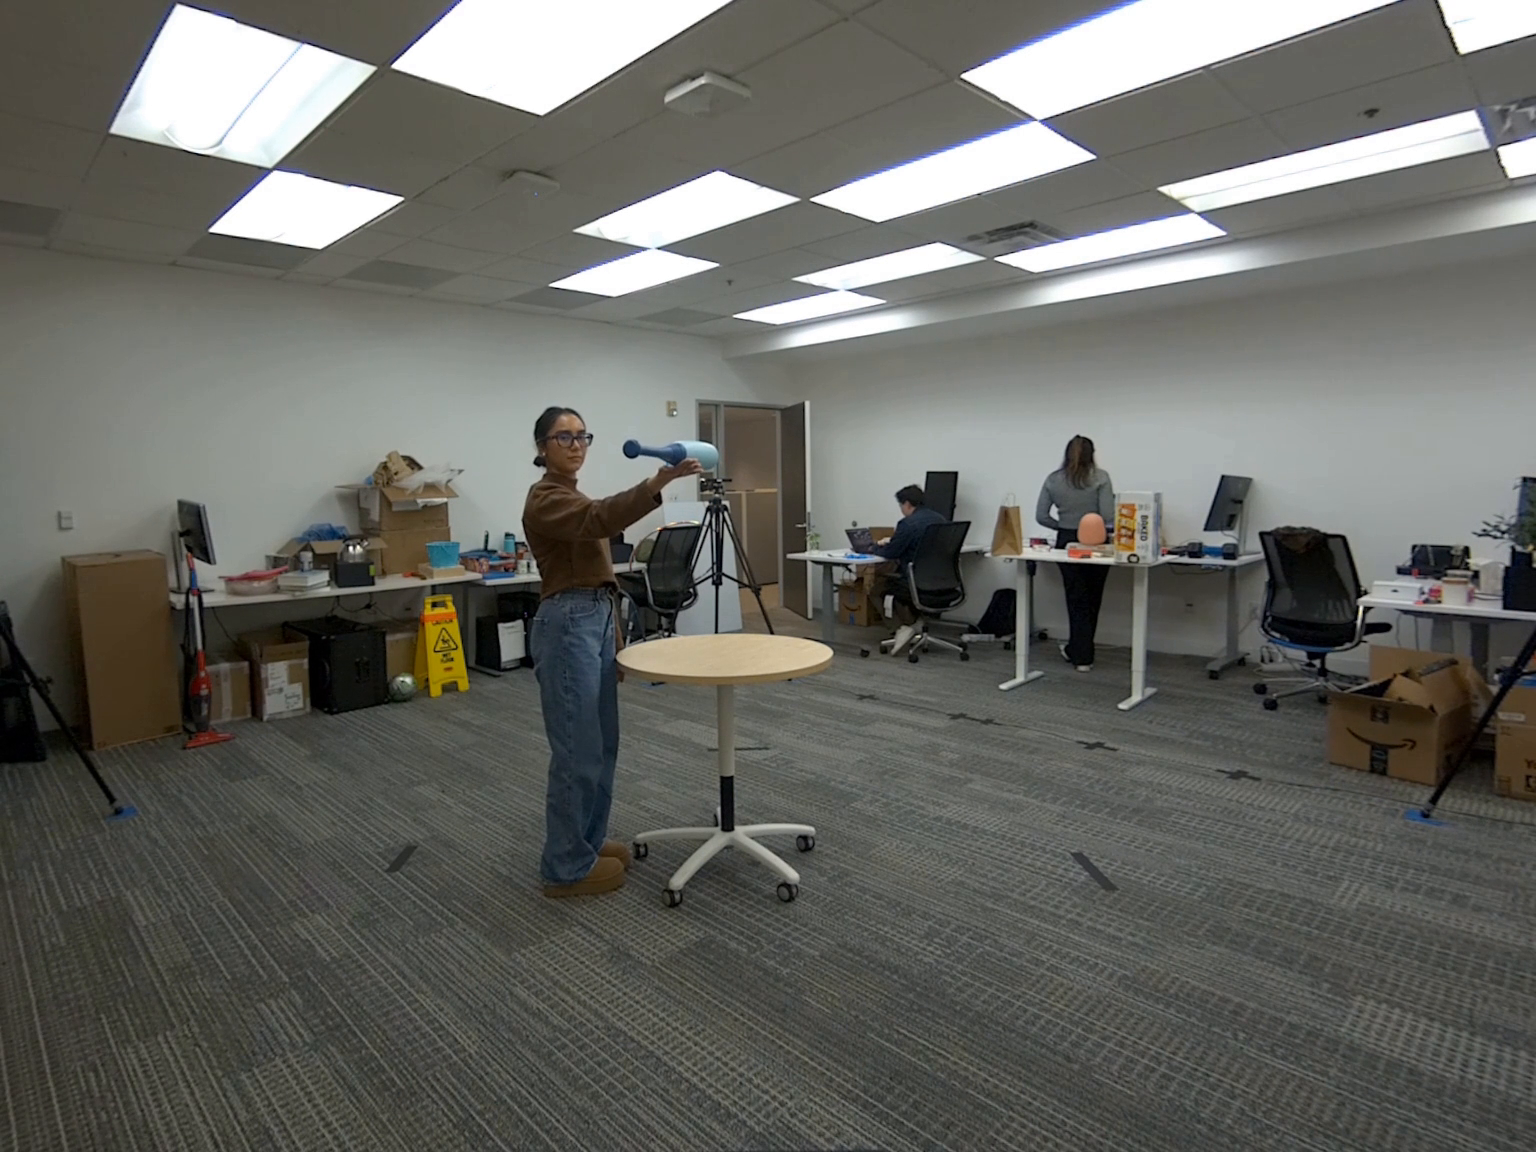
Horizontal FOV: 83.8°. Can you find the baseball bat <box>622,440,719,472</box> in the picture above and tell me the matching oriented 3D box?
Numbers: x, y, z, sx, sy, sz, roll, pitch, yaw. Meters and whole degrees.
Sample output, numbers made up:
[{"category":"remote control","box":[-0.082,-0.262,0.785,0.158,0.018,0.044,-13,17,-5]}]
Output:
[{"category":"baseball bat","box":[-0.269,-0.348,2.445,0.090,0.089,0.536,1,6,17]}]
